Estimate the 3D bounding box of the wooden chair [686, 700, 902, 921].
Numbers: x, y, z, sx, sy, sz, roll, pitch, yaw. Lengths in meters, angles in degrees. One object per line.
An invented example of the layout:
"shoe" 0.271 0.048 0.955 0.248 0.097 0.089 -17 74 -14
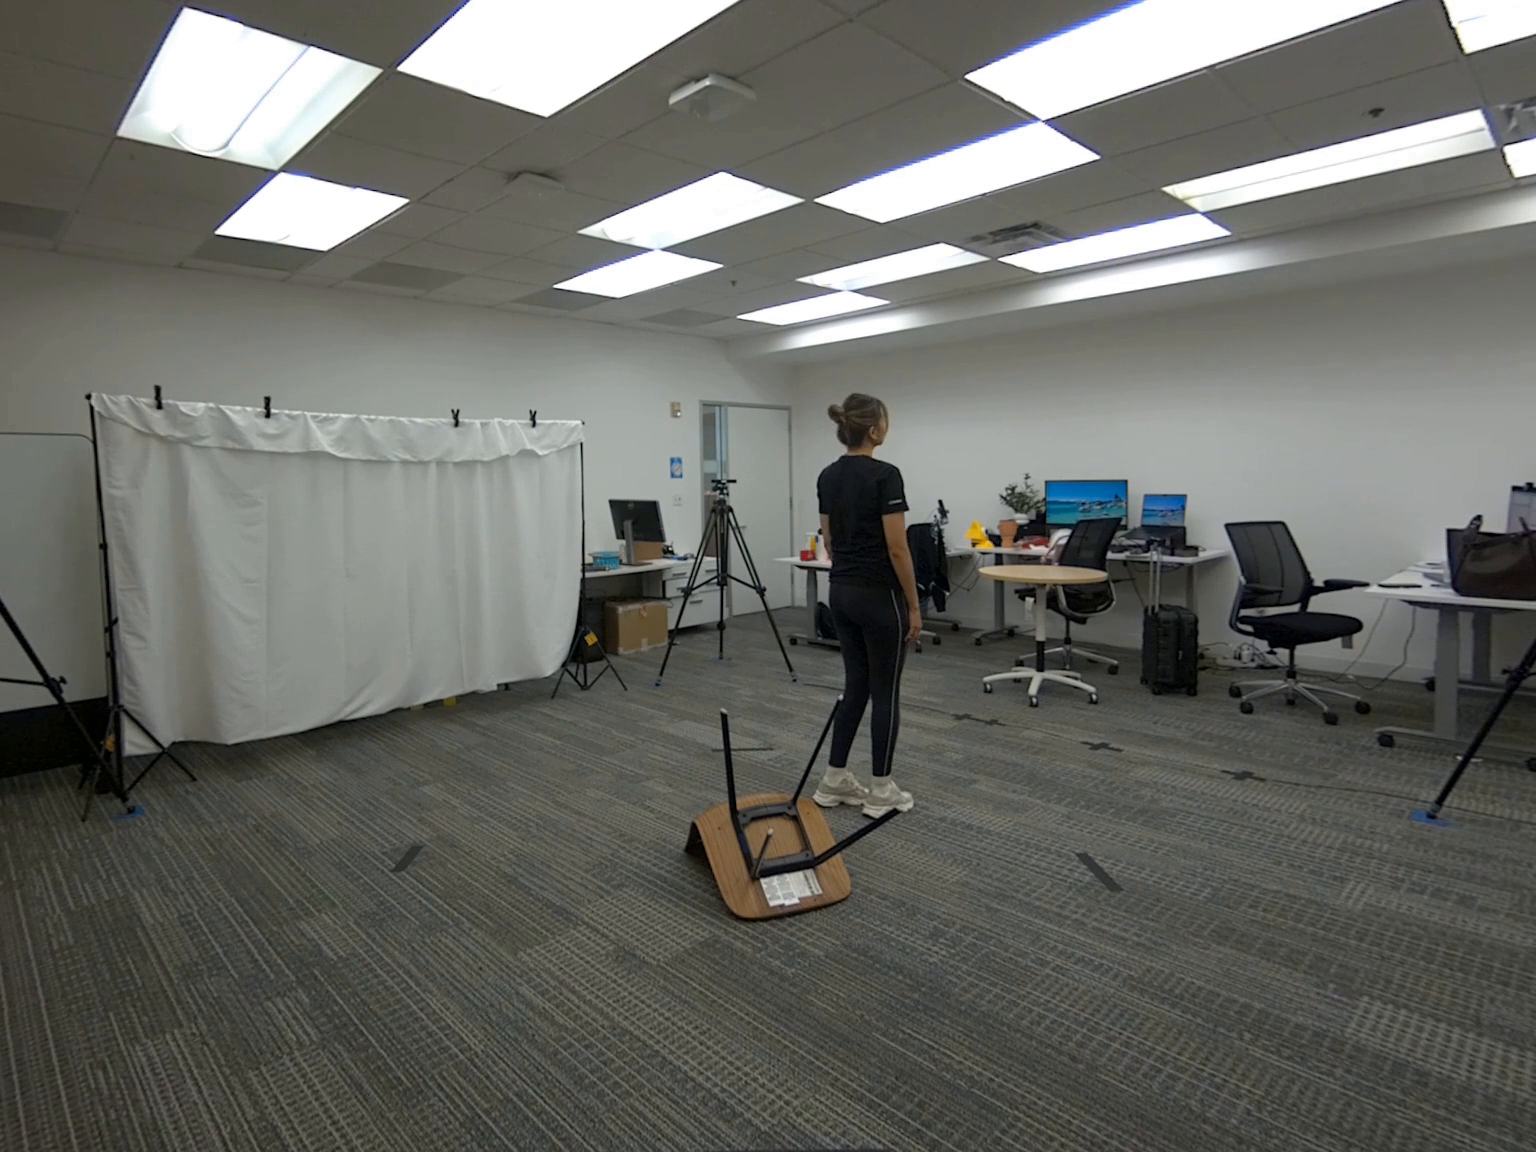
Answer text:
"wooden chair" 0.024 0.895 2.914 0.468 0.864 0.542 -2 46 -25
